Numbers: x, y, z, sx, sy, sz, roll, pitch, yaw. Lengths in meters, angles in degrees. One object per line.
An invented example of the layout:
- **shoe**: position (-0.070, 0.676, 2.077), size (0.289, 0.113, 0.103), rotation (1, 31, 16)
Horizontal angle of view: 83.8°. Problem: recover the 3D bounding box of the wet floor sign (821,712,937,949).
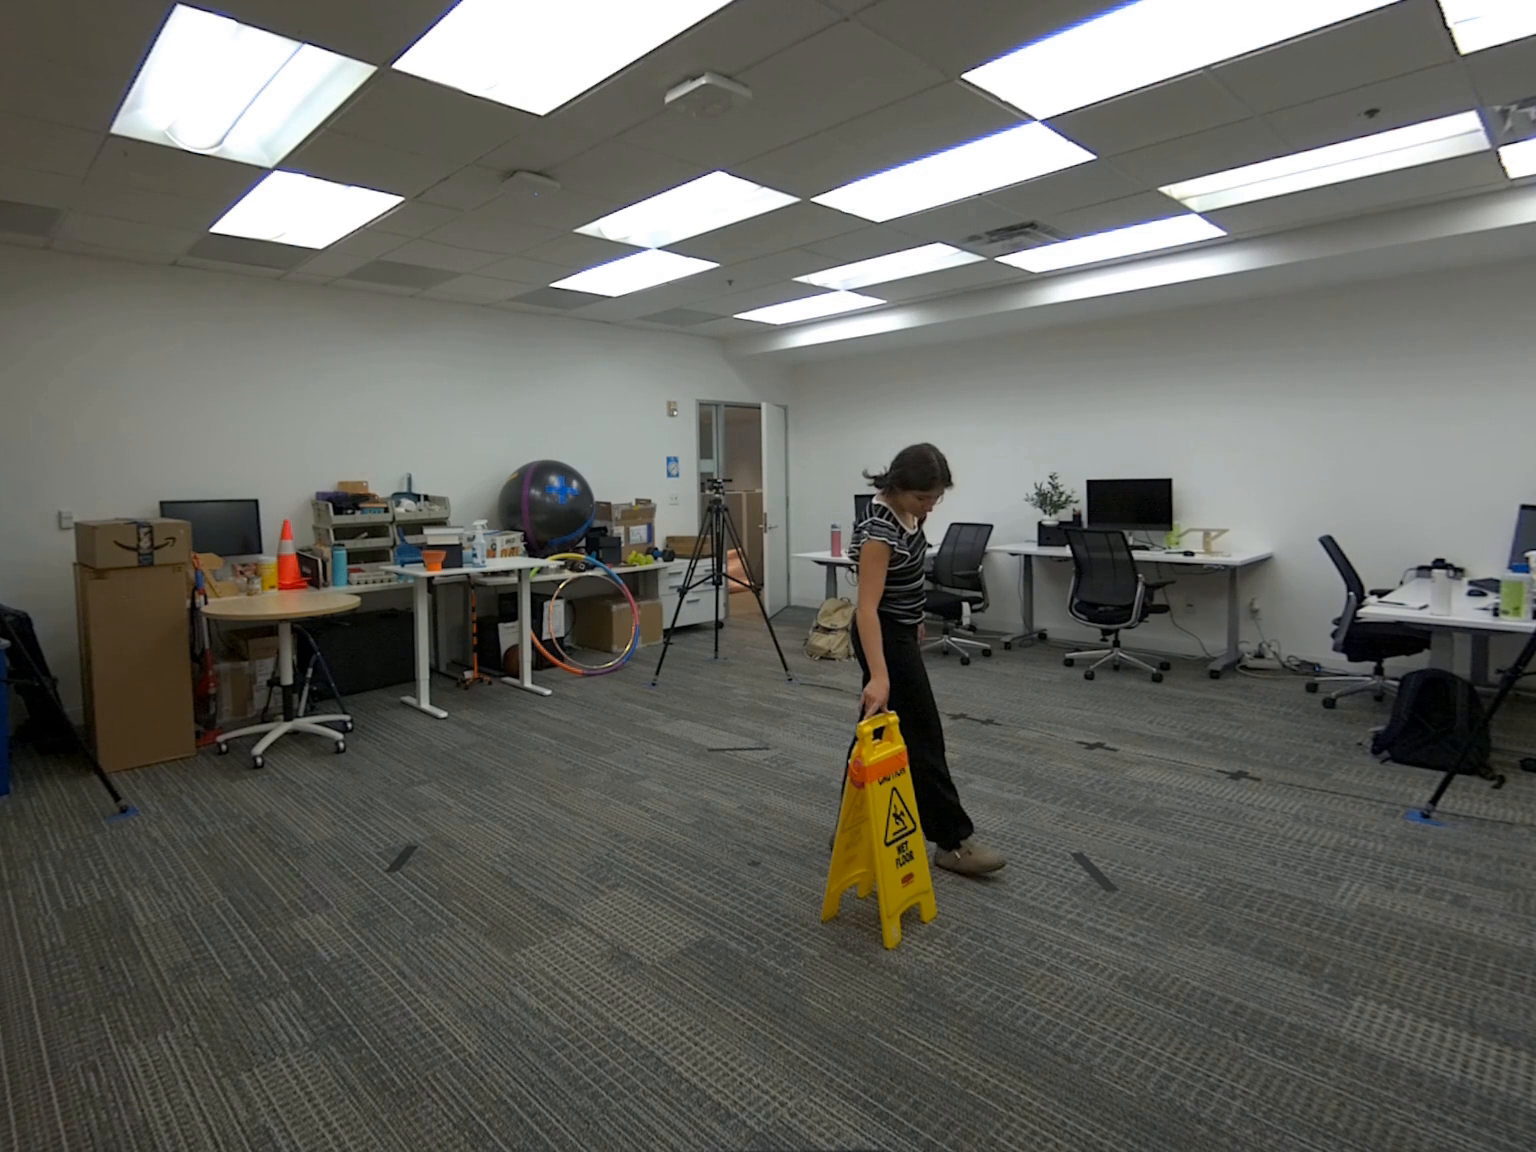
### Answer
- **wet floor sign**: position (0.352, 0.762, 2.679), size (0.299, 0.643, 0.275), rotation (4, 6, 41)
